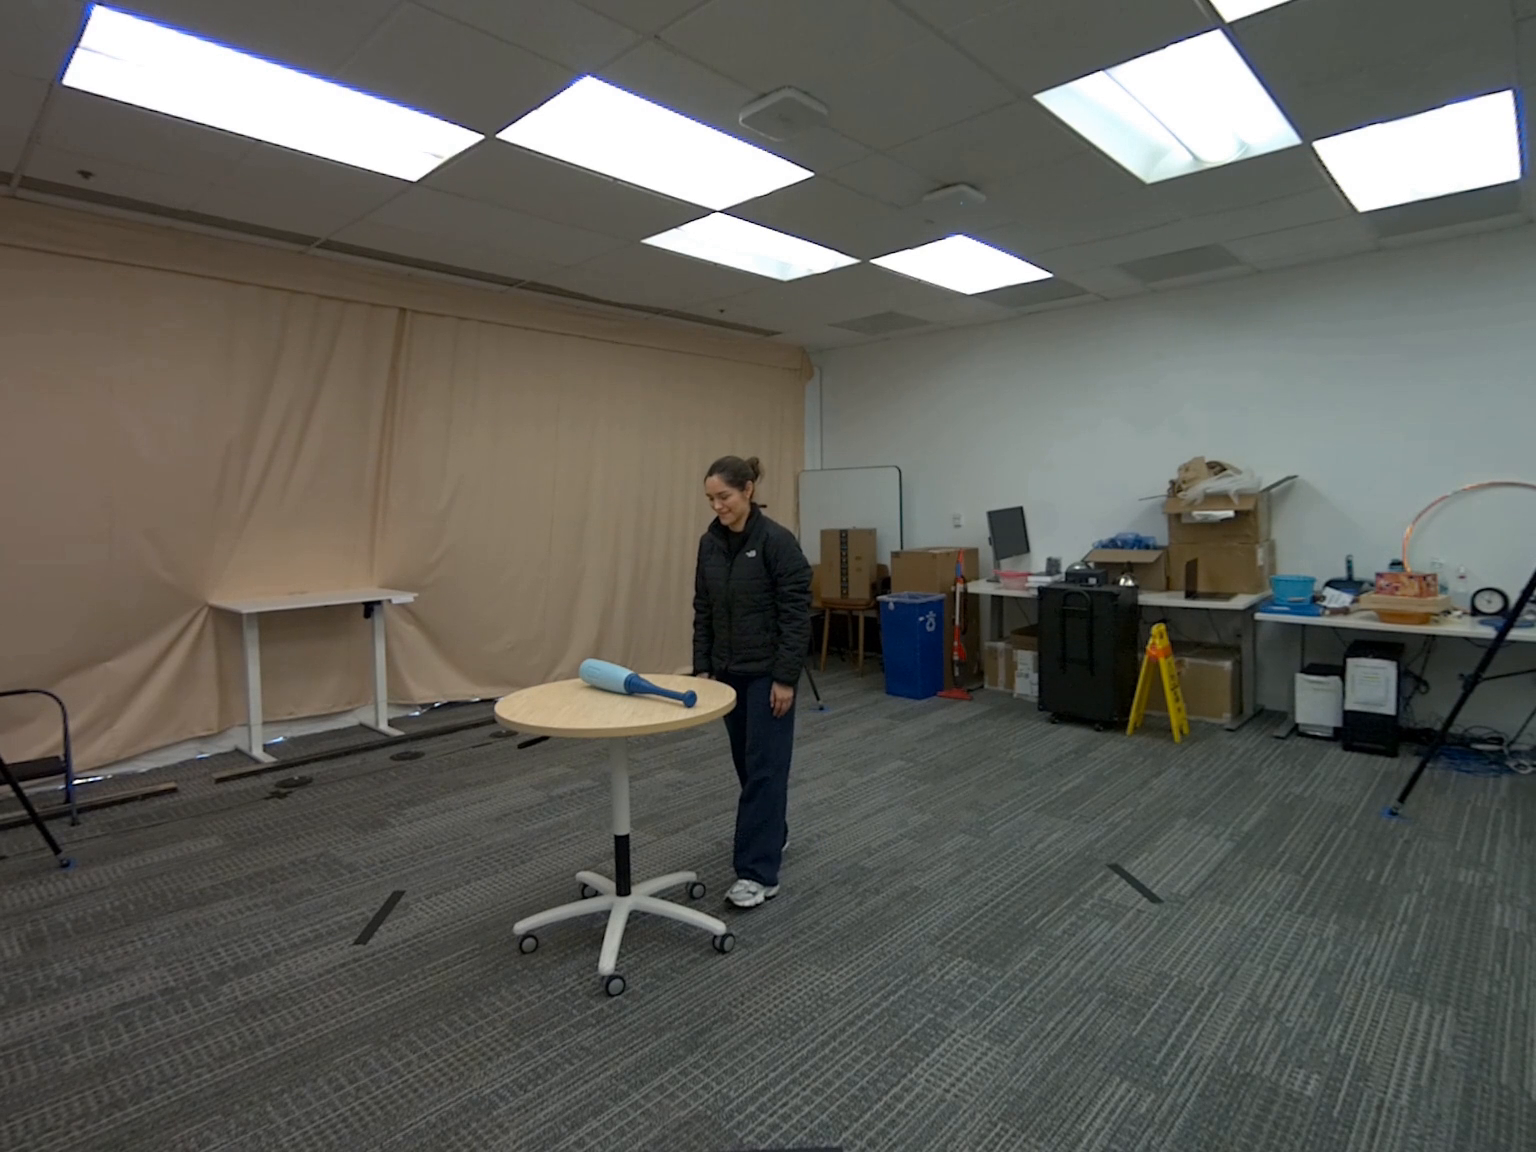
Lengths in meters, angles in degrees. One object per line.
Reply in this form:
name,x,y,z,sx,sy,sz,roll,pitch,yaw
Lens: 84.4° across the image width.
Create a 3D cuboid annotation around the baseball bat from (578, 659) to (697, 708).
baseball bat,-0.410,0.353,2.720,0.086,0.089,0.562,-5,8,-45
